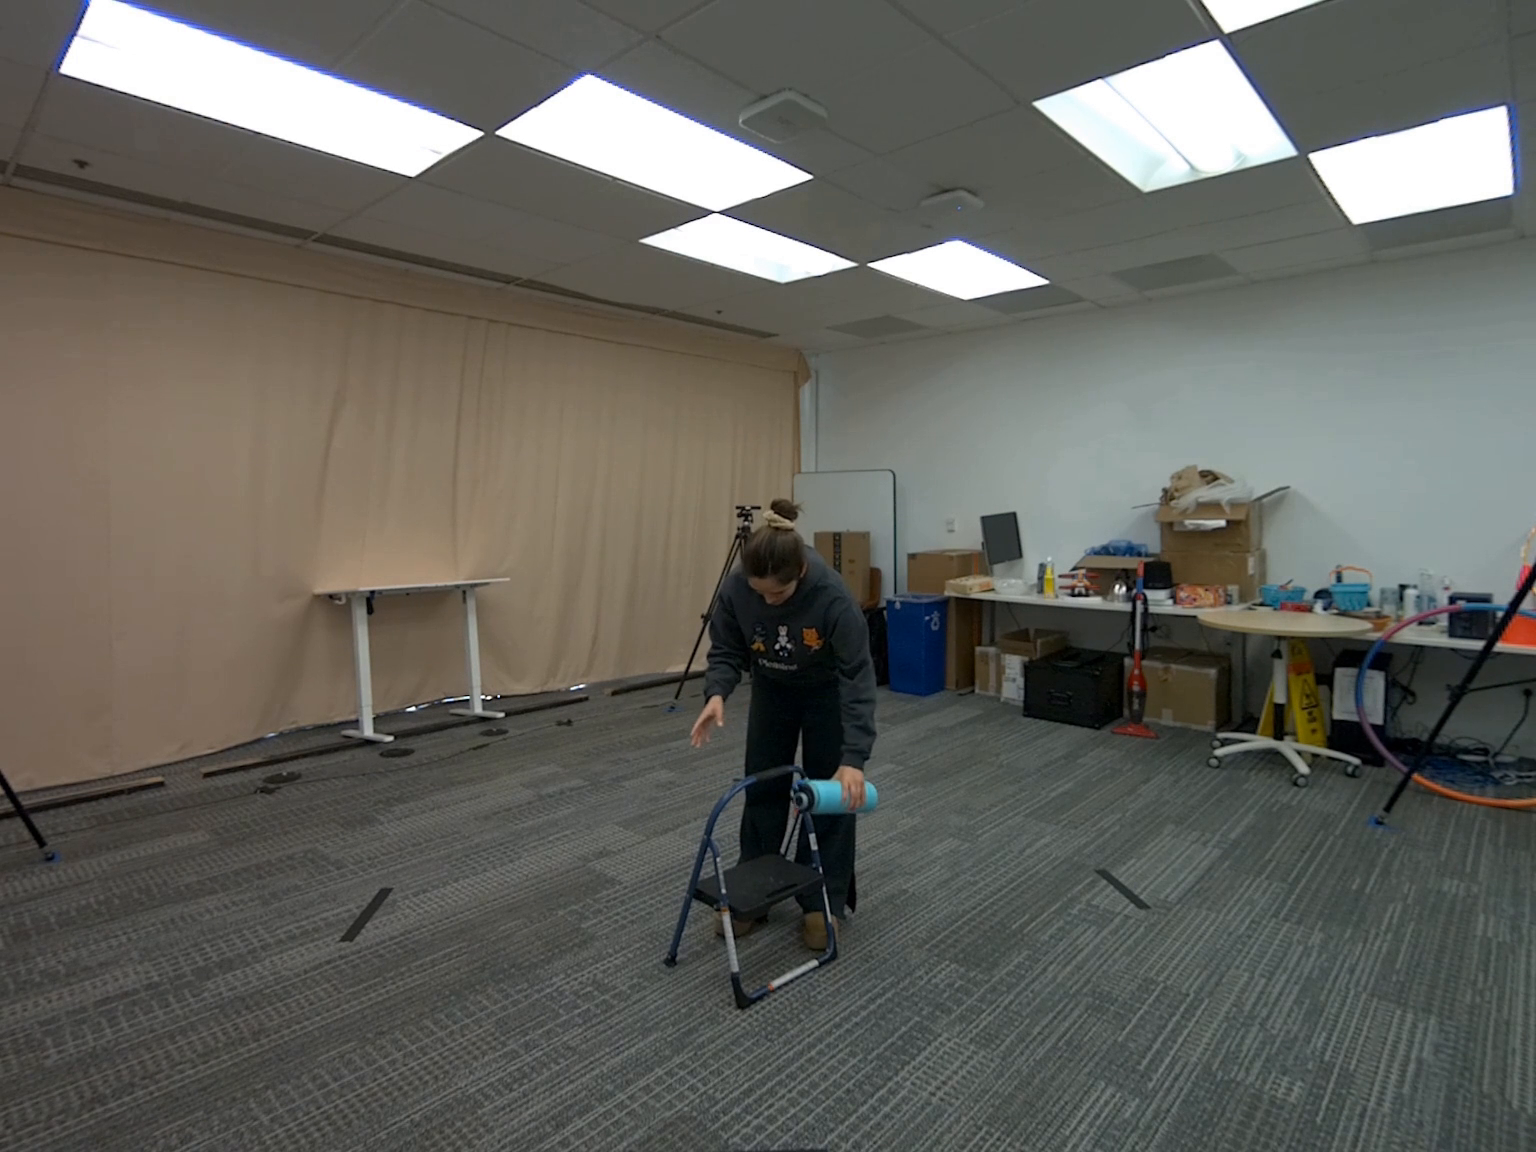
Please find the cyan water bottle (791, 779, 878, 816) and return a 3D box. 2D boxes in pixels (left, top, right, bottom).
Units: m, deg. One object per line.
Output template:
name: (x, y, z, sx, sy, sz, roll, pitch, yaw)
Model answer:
cyan water bottle: (0.183, 0.603, 2.363, 0.274, 0.092, 0.095, 10, -4, -39)
